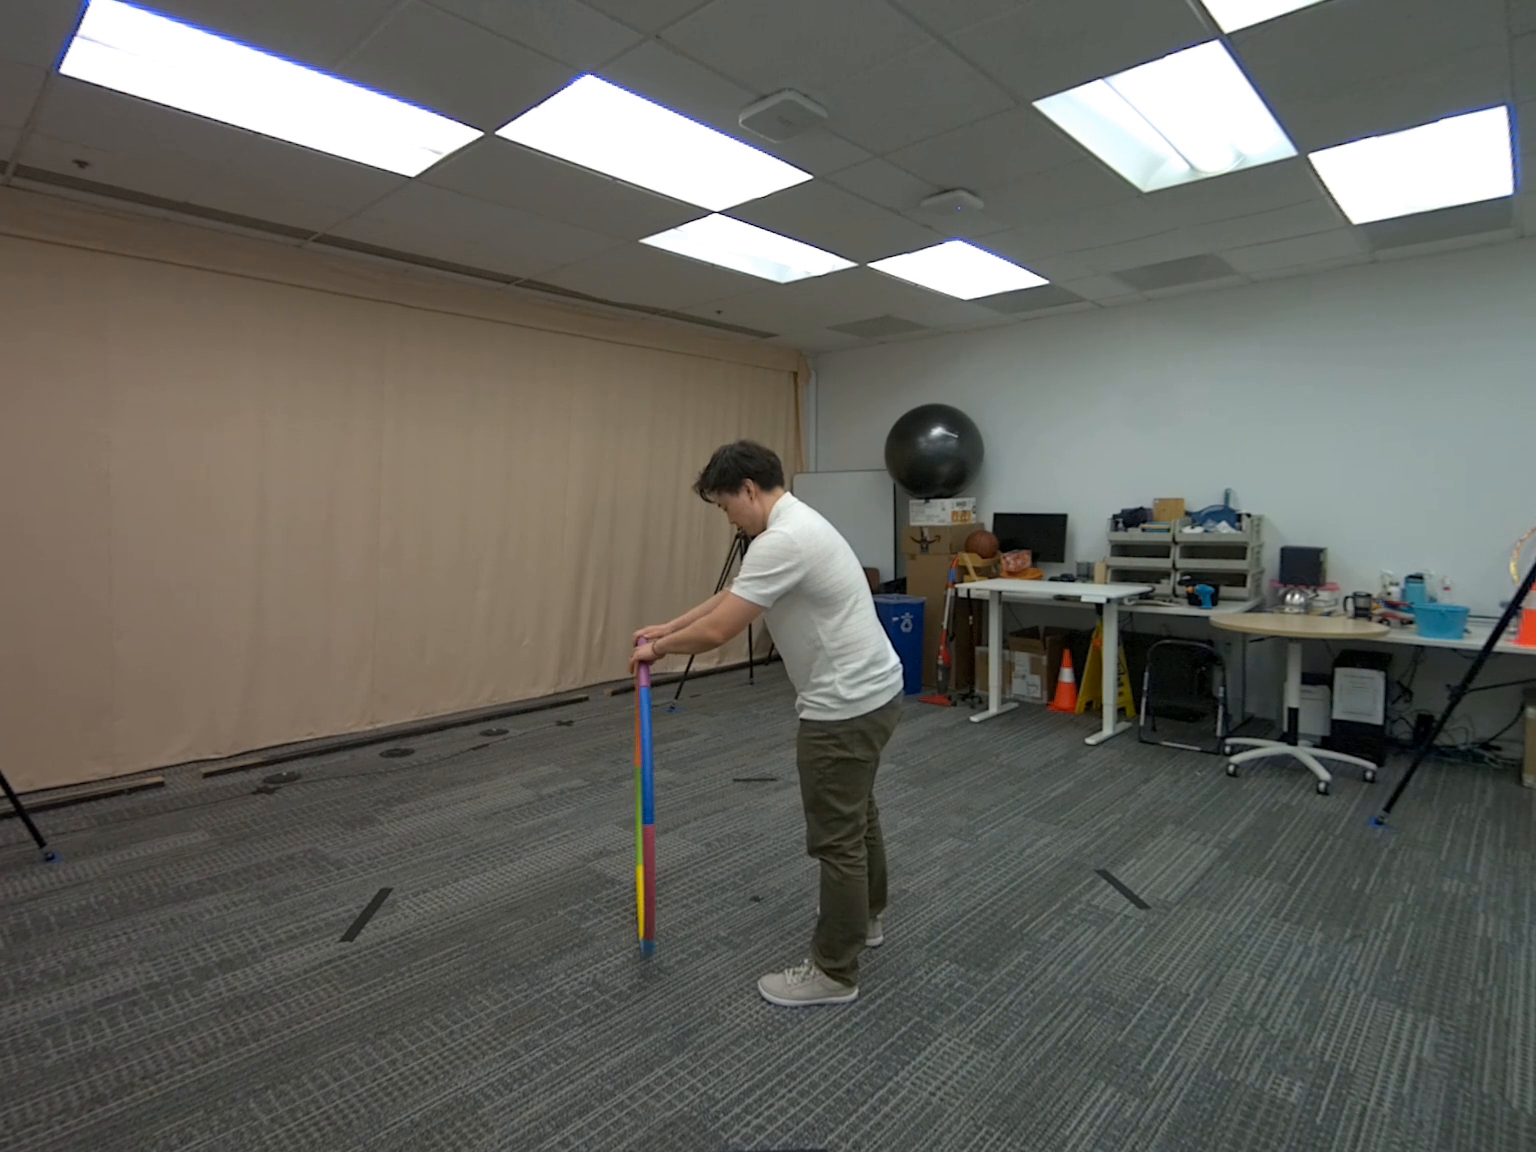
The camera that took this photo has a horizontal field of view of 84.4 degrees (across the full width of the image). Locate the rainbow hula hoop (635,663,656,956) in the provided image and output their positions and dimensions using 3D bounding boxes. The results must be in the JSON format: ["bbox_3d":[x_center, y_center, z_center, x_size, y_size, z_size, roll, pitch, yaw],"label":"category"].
[{"bbox_3d":[-0.398,0.687,2.707,0.035,0.977,0.989,0,4,-10],"label":"rainbow hula hoop"}]
